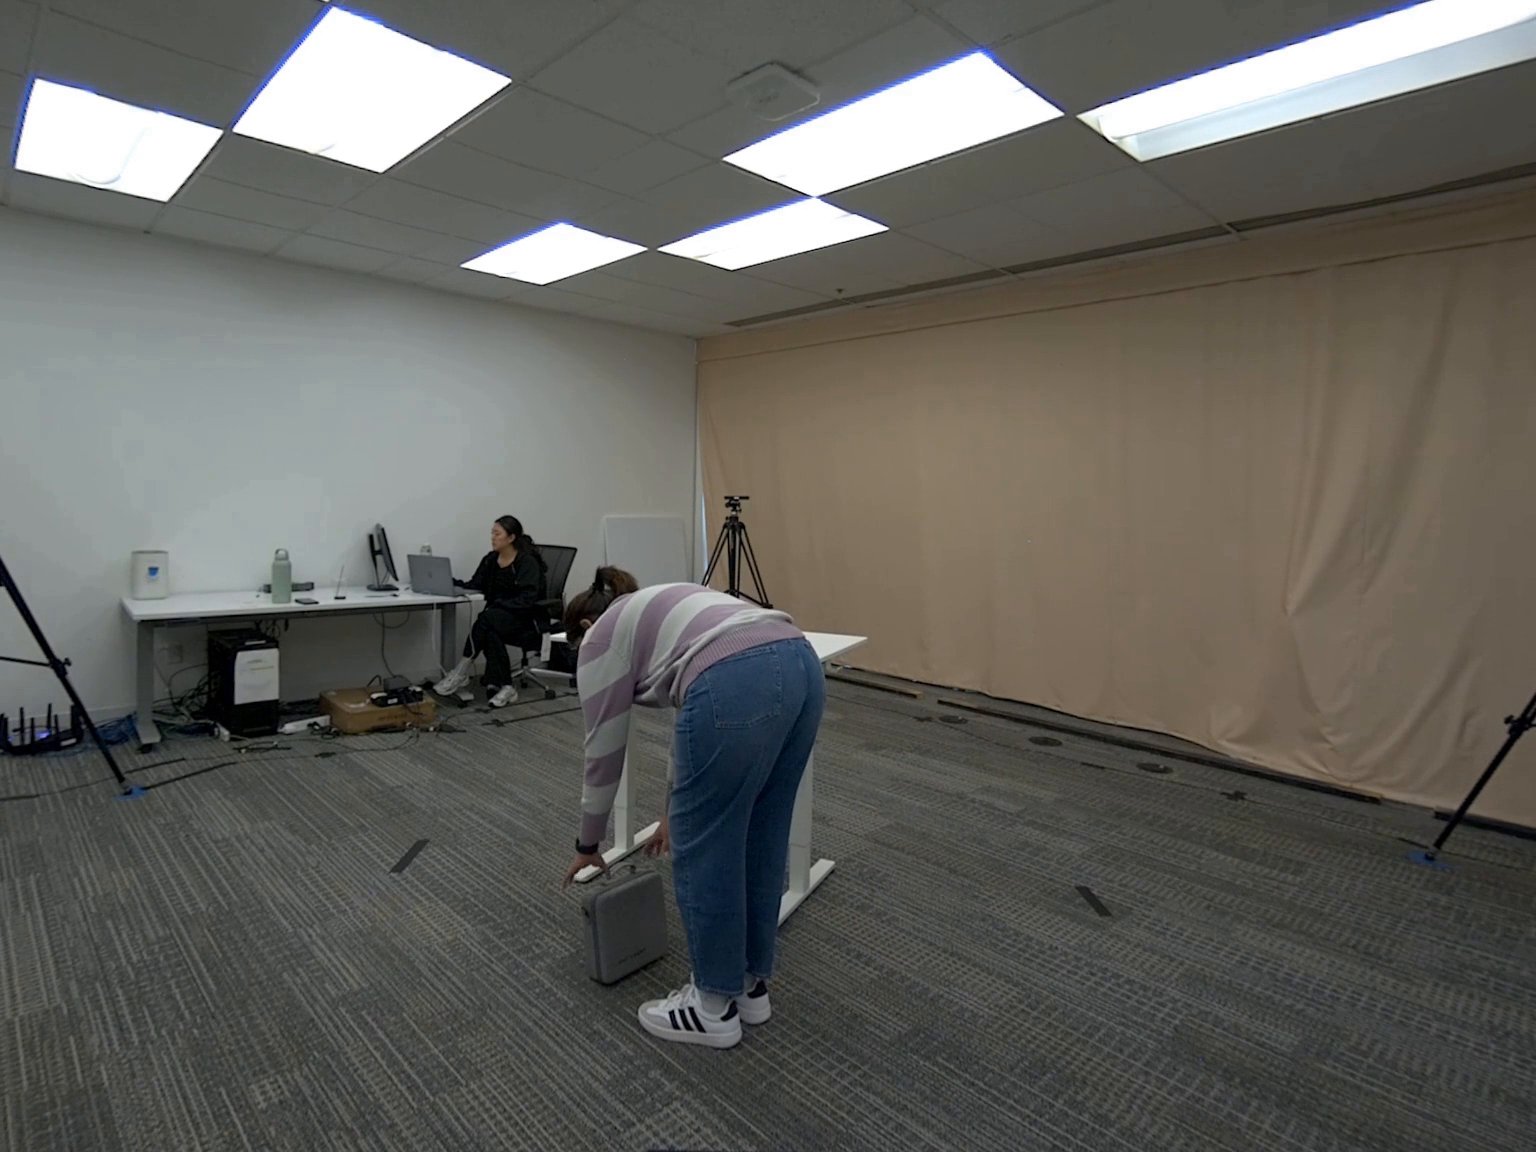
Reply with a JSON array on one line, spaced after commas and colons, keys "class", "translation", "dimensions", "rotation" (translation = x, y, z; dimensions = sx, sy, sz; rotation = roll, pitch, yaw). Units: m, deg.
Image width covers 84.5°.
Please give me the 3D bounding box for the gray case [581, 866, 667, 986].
[{"class": "gray case", "translation": [-0.429, 1.024, 2.478], "dimensions": [0.106, 0.261, 0.251], "rotation": [-8, -3, 41]}]
